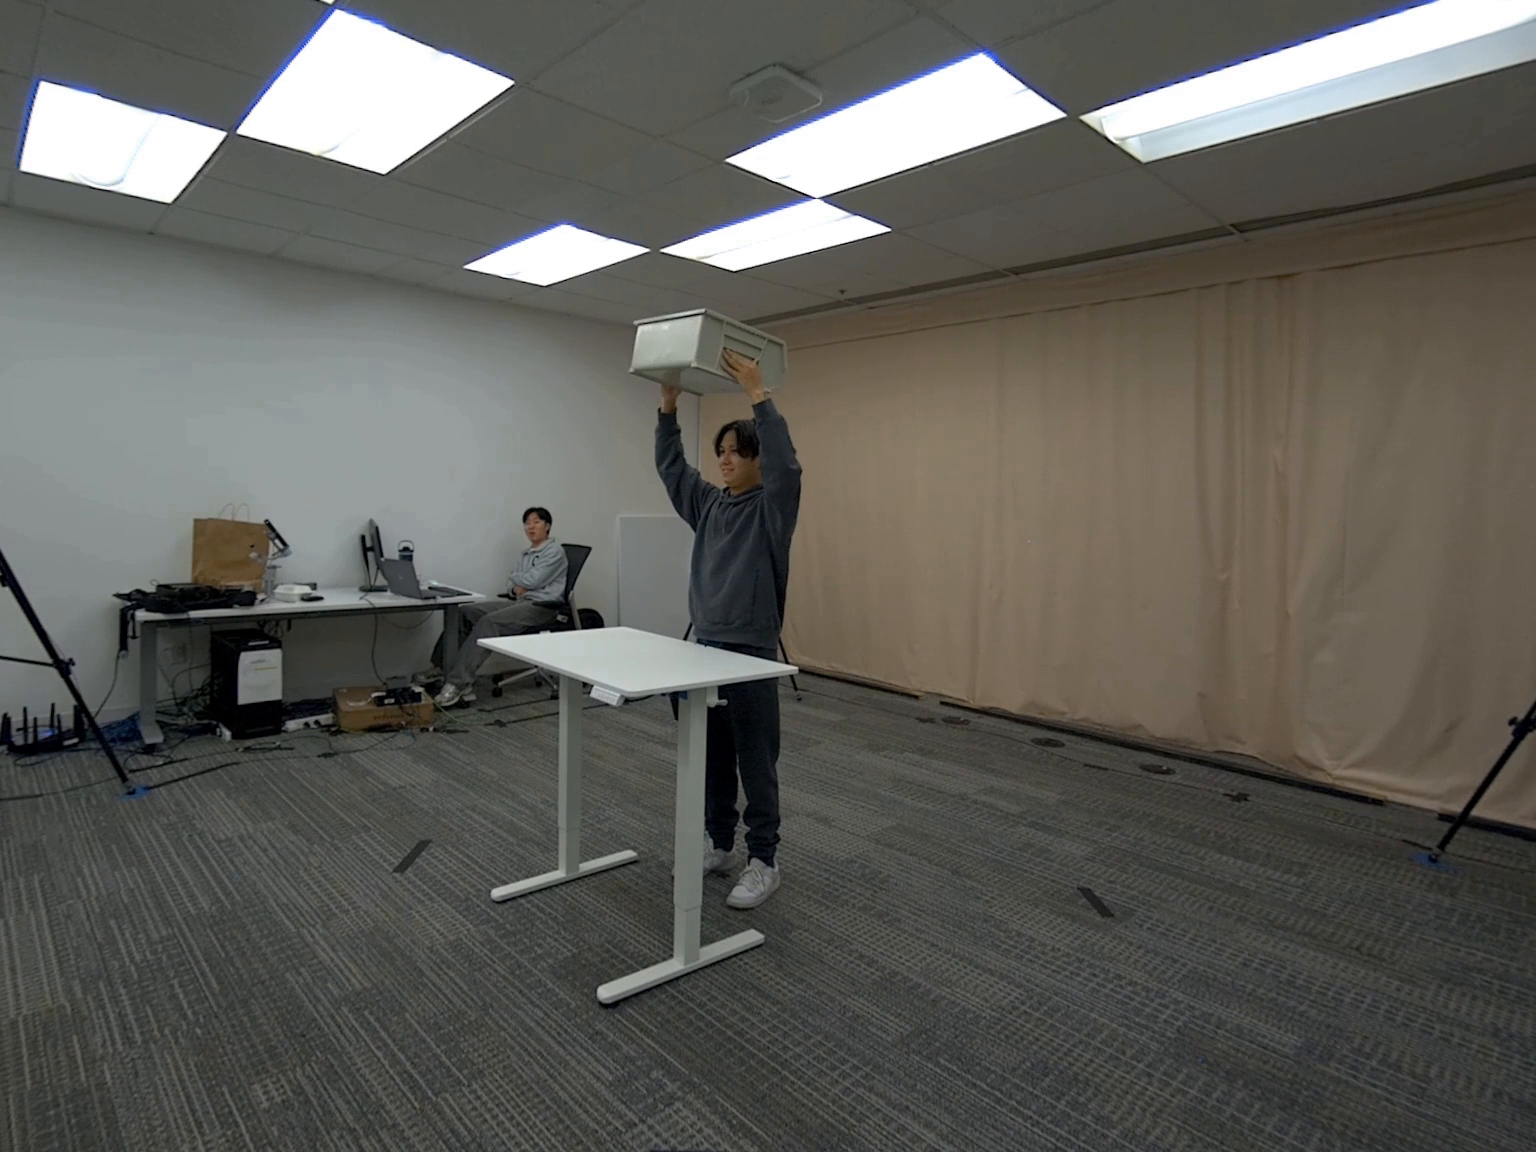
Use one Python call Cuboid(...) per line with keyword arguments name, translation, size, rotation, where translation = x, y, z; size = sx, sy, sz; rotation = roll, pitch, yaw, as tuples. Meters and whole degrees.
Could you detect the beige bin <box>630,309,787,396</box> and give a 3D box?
Cuboid(name="beige bin", translation=(-0.212, -0.736, 2.859), size=(0.367, 0.189, 0.434), rotation=(10, 2, -40))
